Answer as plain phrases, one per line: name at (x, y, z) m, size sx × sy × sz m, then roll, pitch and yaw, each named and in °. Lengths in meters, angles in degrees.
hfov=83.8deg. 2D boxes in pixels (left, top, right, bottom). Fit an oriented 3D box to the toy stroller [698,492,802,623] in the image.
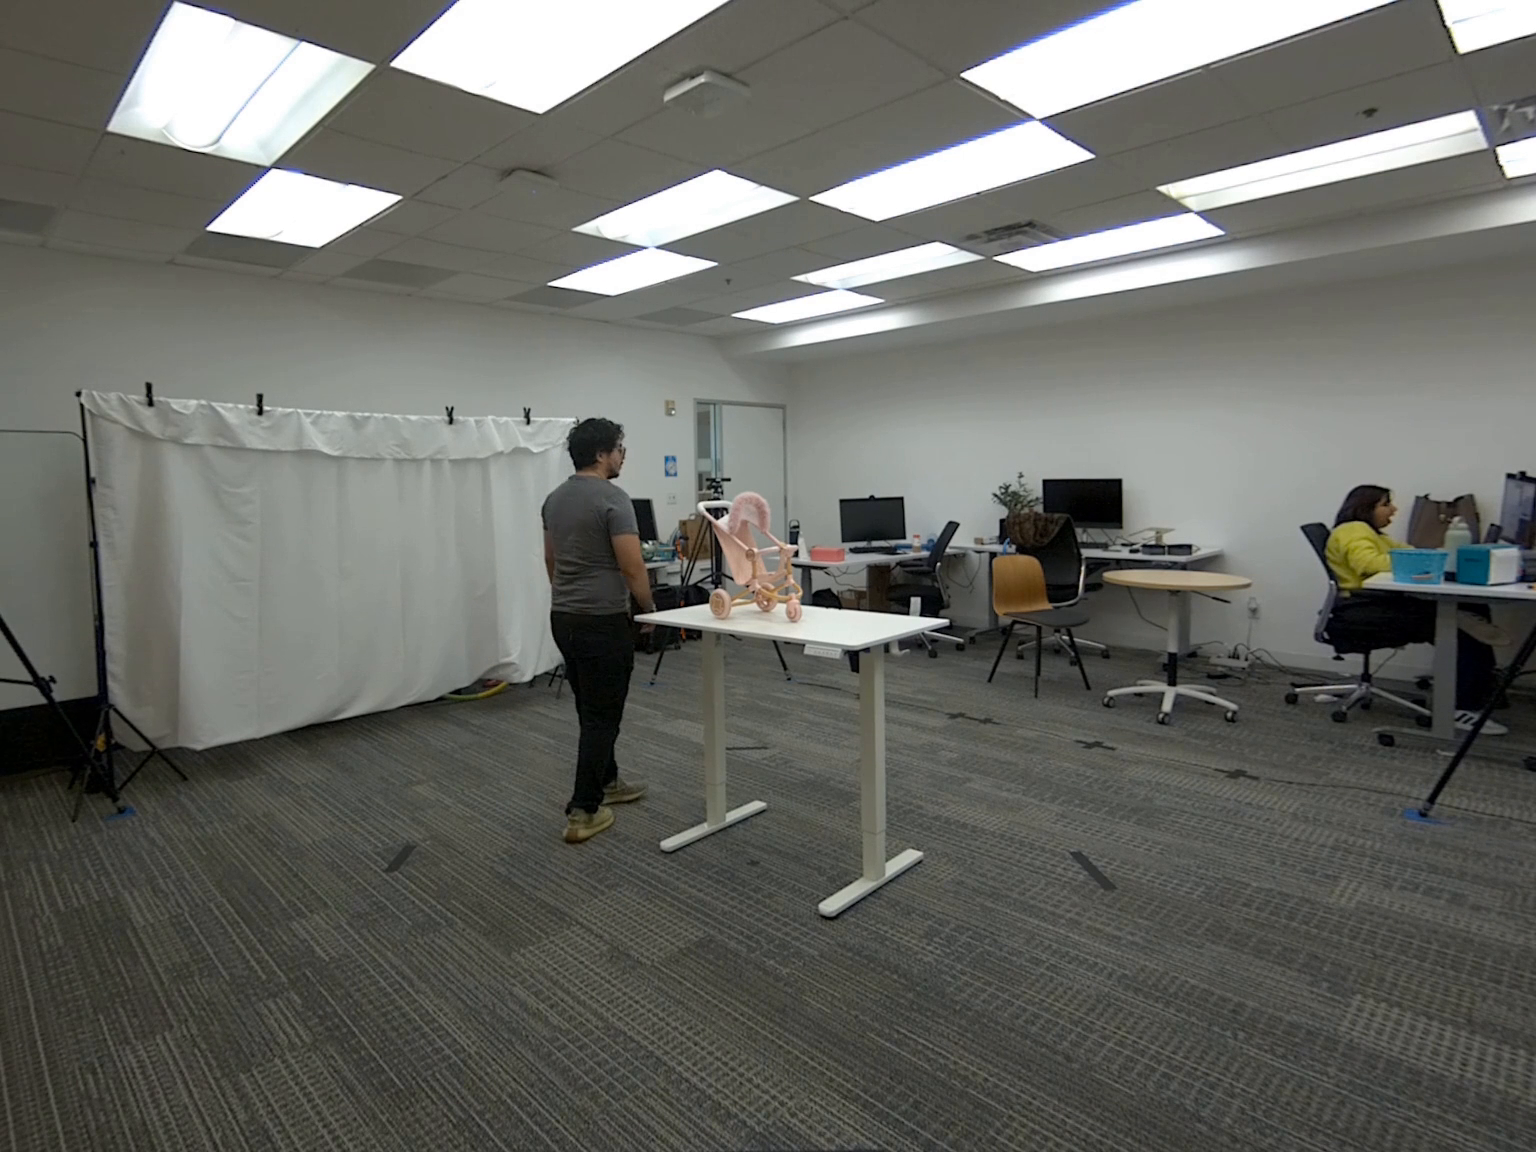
toy stroller at (-0.049, -0.070, 3.161) m, size 0.274 × 0.540 × 0.347 m, roll -4°, pitch -12°, yaw -41°
